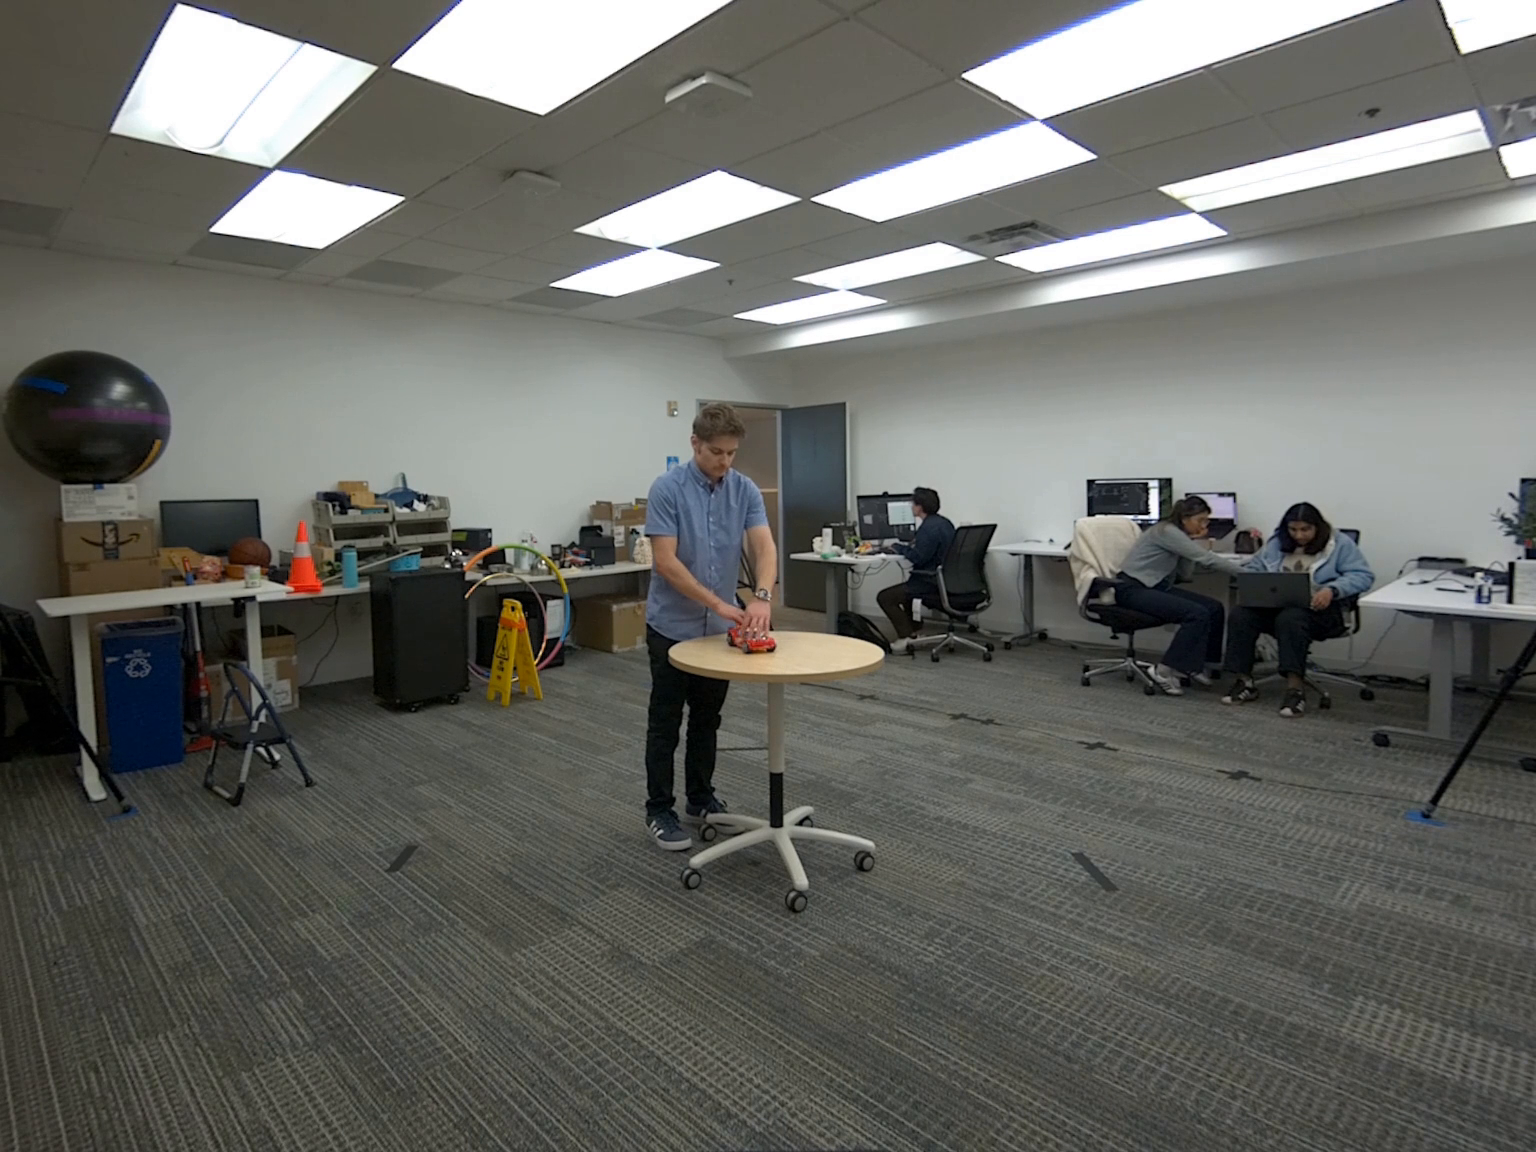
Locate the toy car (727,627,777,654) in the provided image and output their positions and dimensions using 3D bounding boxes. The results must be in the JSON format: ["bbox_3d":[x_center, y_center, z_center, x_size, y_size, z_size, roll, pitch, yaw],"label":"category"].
[{"bbox_3d":[-0.068,0.230,3.100,0.128,0.082,0.263,-3,17,-22],"label":"toy car"}]
